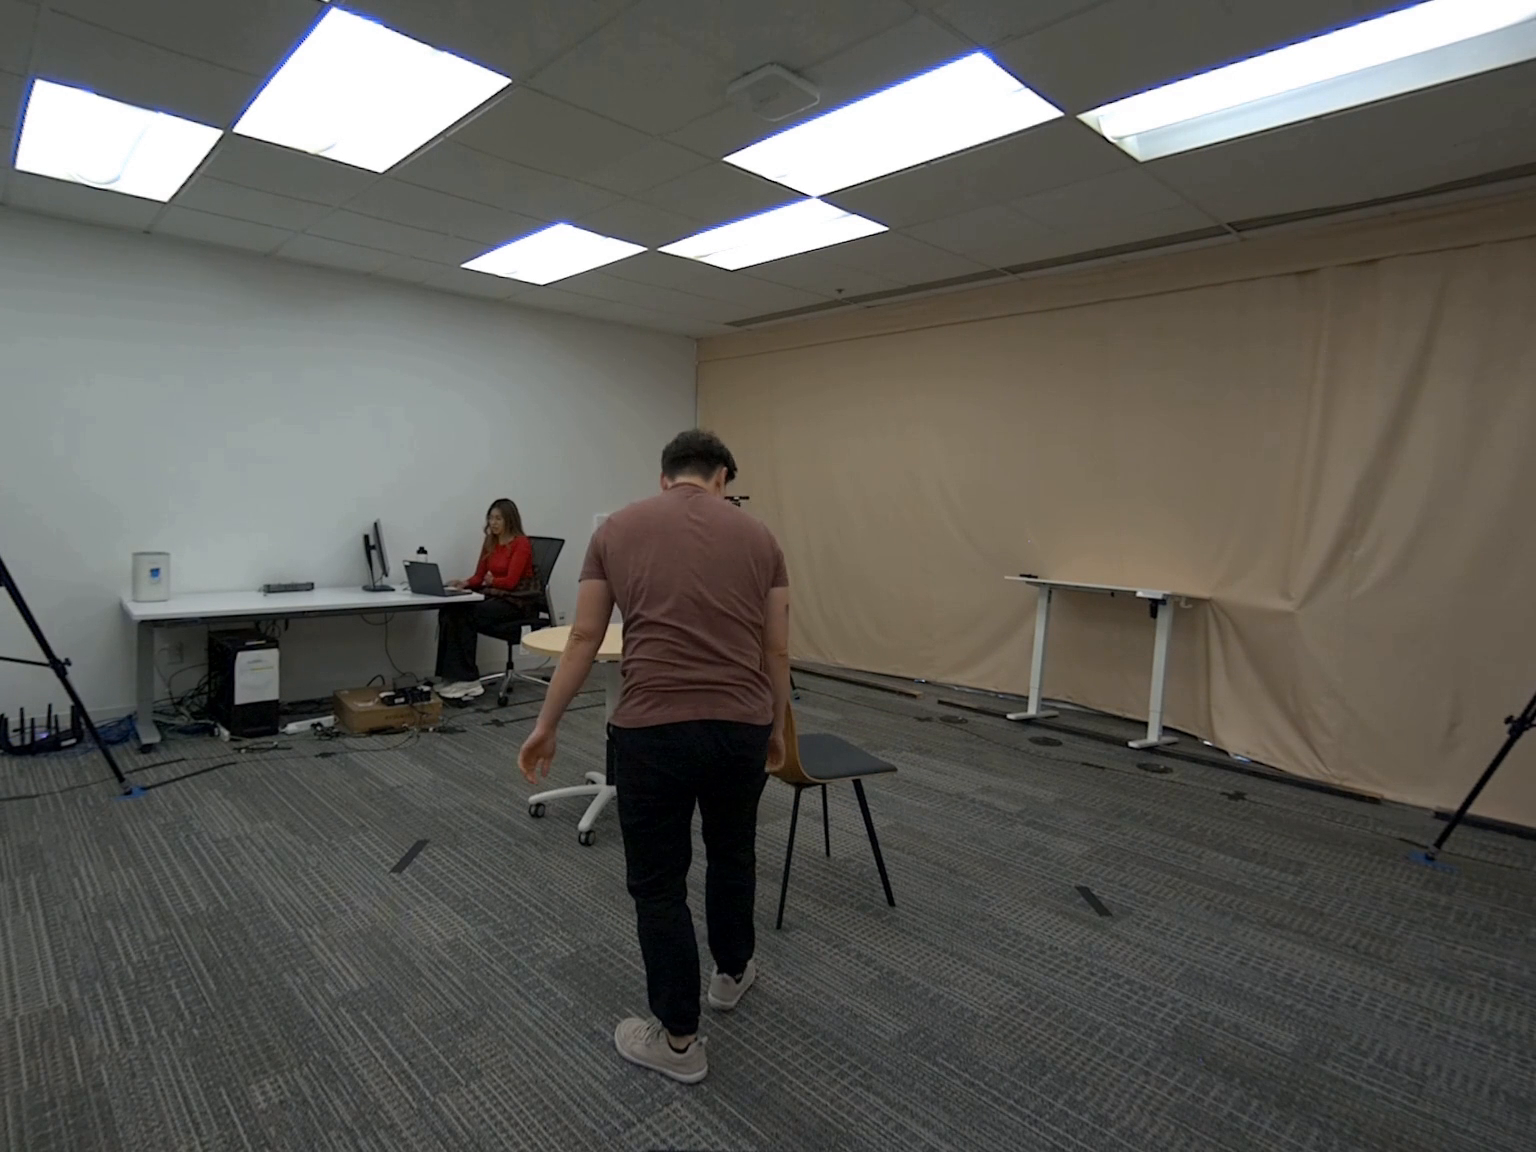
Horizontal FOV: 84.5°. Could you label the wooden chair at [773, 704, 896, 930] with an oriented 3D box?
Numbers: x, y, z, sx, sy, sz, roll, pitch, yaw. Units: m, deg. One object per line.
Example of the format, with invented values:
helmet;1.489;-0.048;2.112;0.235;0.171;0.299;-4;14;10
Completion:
wooden chair;0.147;0.697;2.979;0.514;0.874;0.488;-5;5;-25
